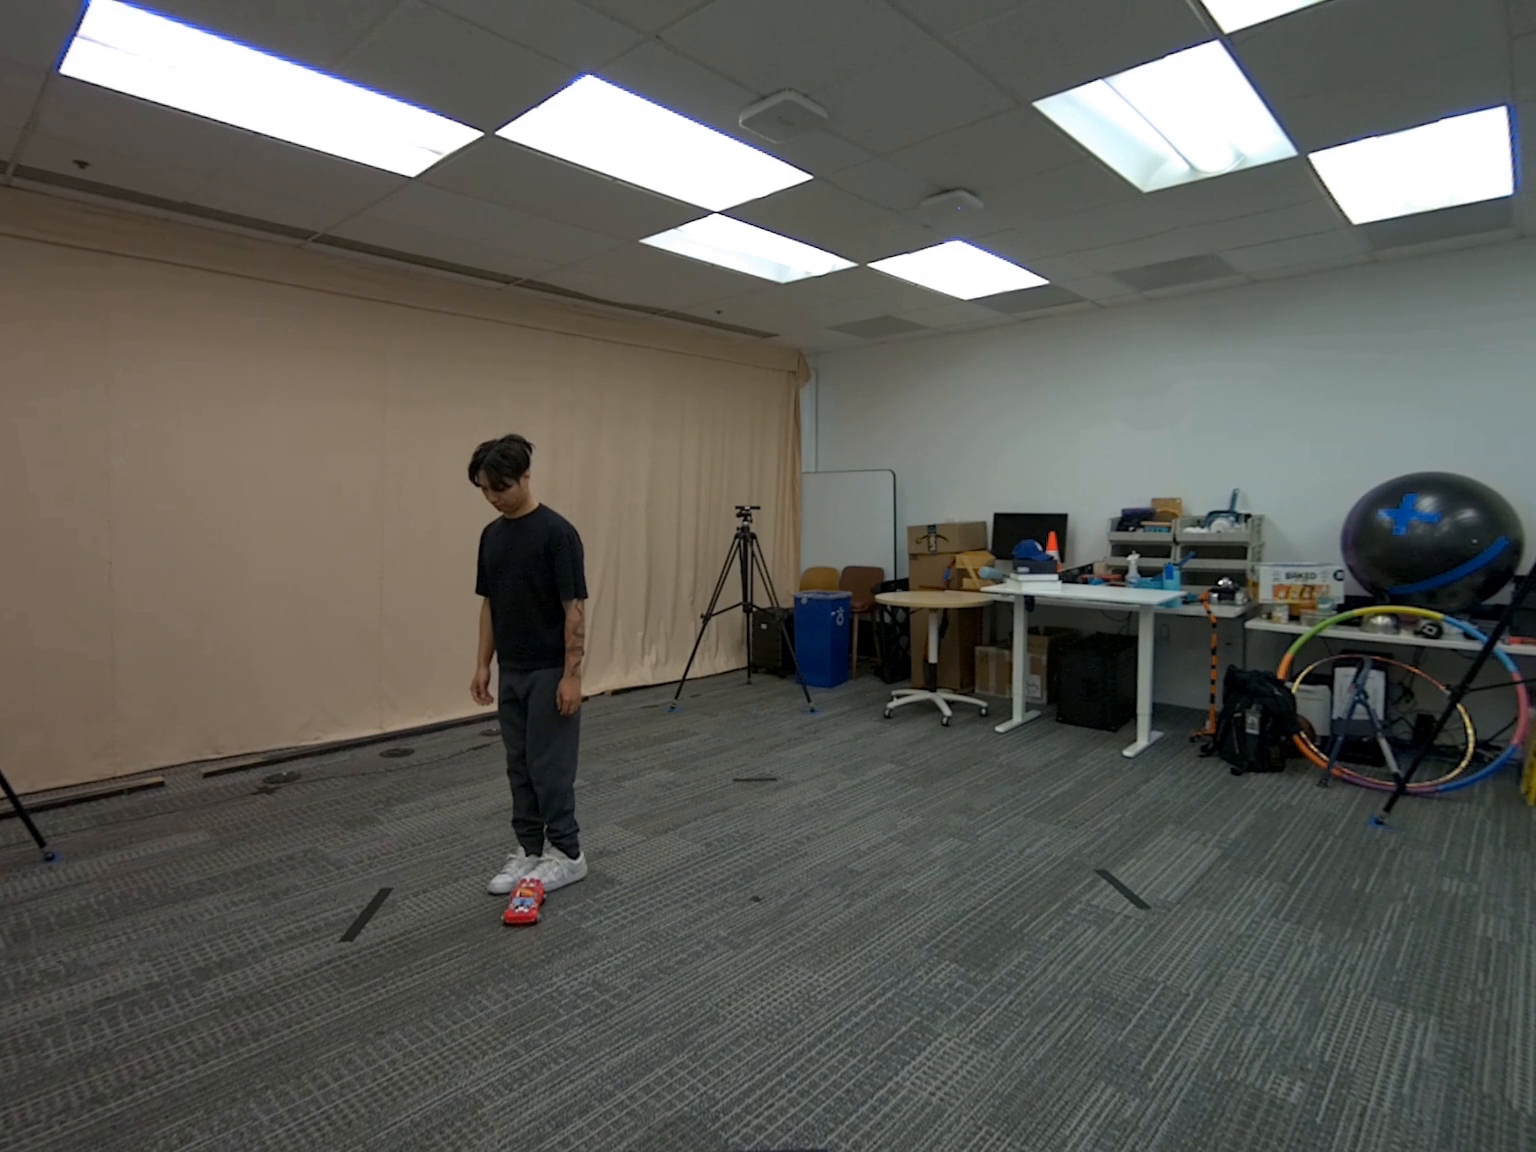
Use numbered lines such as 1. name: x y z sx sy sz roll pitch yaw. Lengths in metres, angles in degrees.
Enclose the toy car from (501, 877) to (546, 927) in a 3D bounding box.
1. toy car: -0.840 1.120 2.903 0.129 0.082 0.258 0 15 -7
